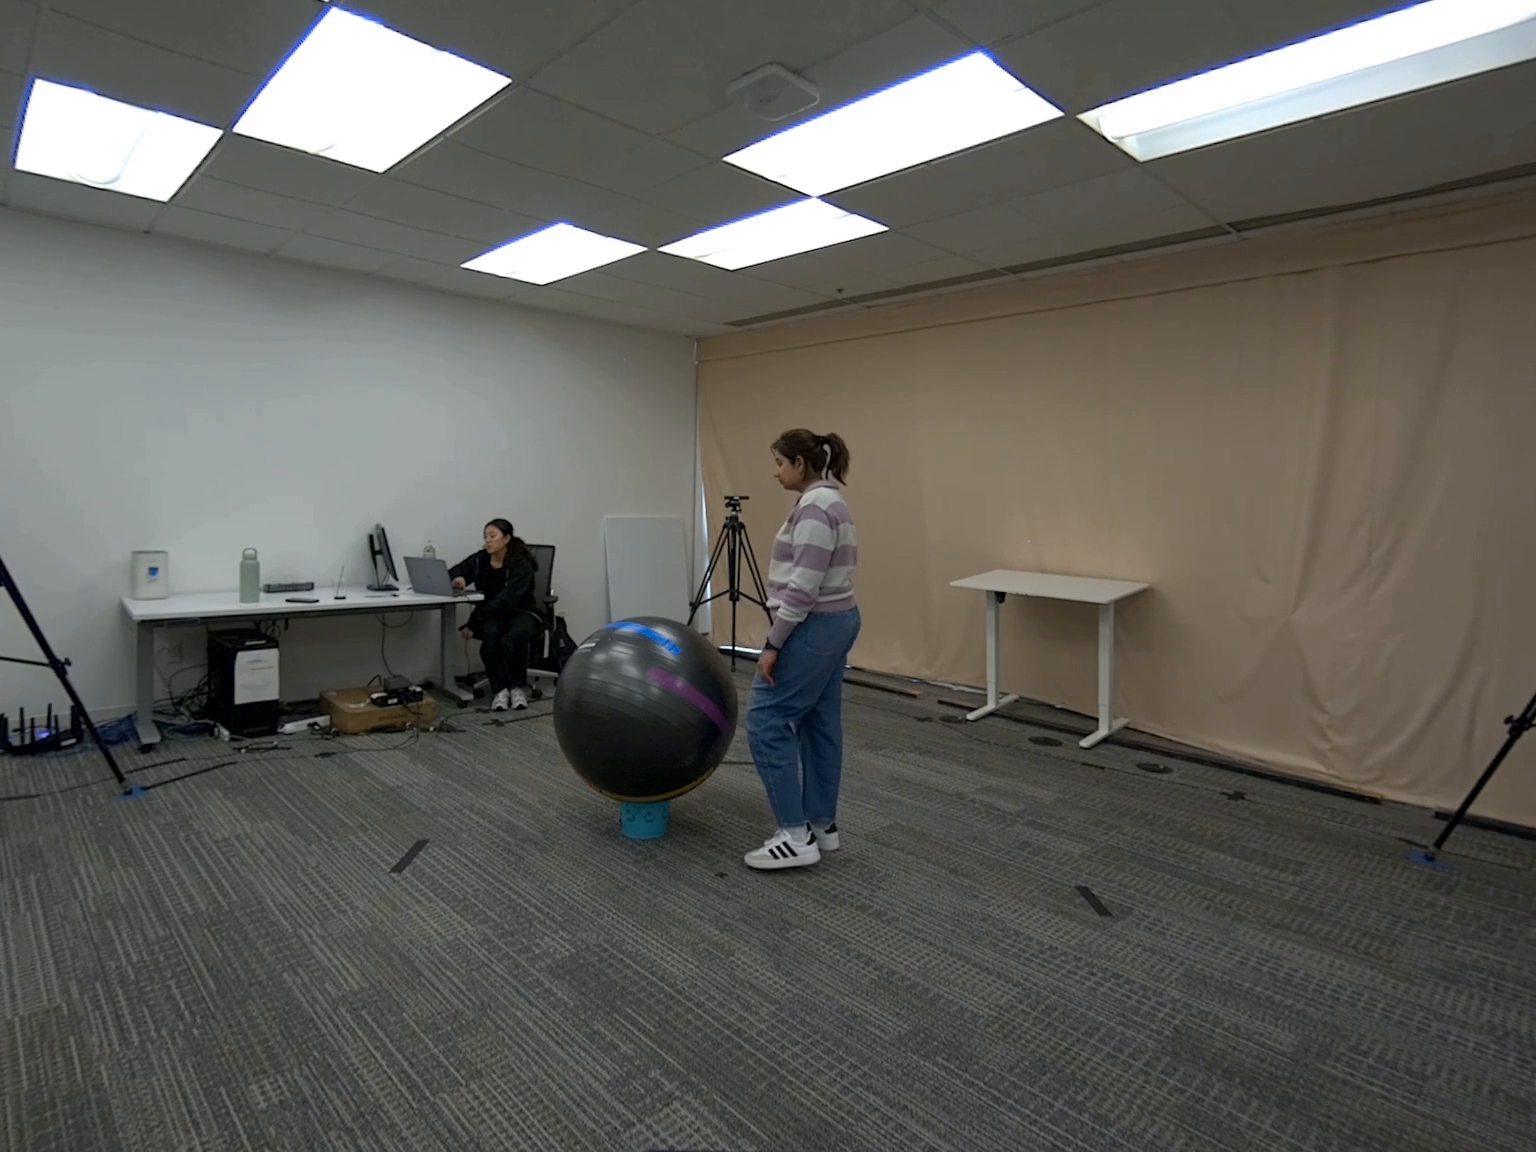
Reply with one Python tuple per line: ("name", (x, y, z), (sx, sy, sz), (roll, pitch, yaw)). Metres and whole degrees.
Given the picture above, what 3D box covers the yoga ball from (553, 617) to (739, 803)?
("yoga ball", (-0.514, 0.550, 3.508), (0.757, 0.756, 0.761), (1, 4, -1))
